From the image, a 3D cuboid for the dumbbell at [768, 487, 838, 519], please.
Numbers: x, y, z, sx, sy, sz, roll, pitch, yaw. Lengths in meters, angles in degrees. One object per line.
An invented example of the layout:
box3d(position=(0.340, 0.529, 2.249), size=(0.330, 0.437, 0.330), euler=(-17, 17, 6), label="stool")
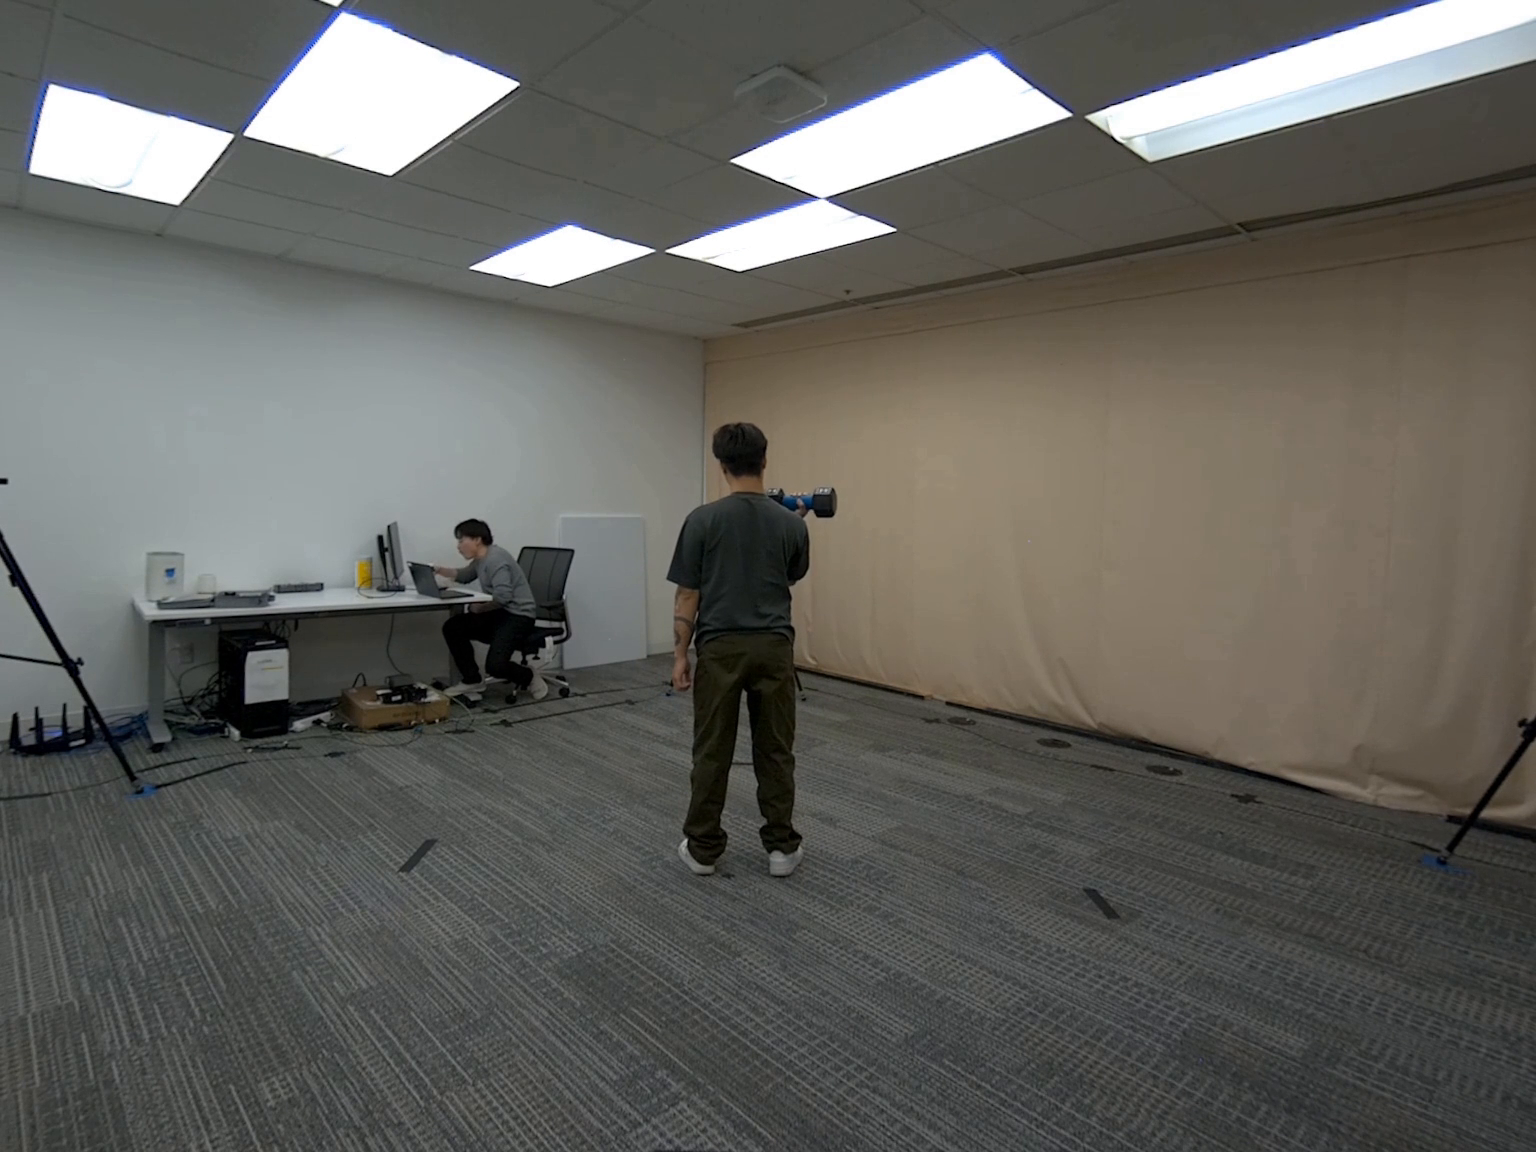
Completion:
box3d(position=(0.121, -0.293, 3.358), size=(0.298, 0.110, 0.119), euler=(2, -27, 18), label="dumbbell")
